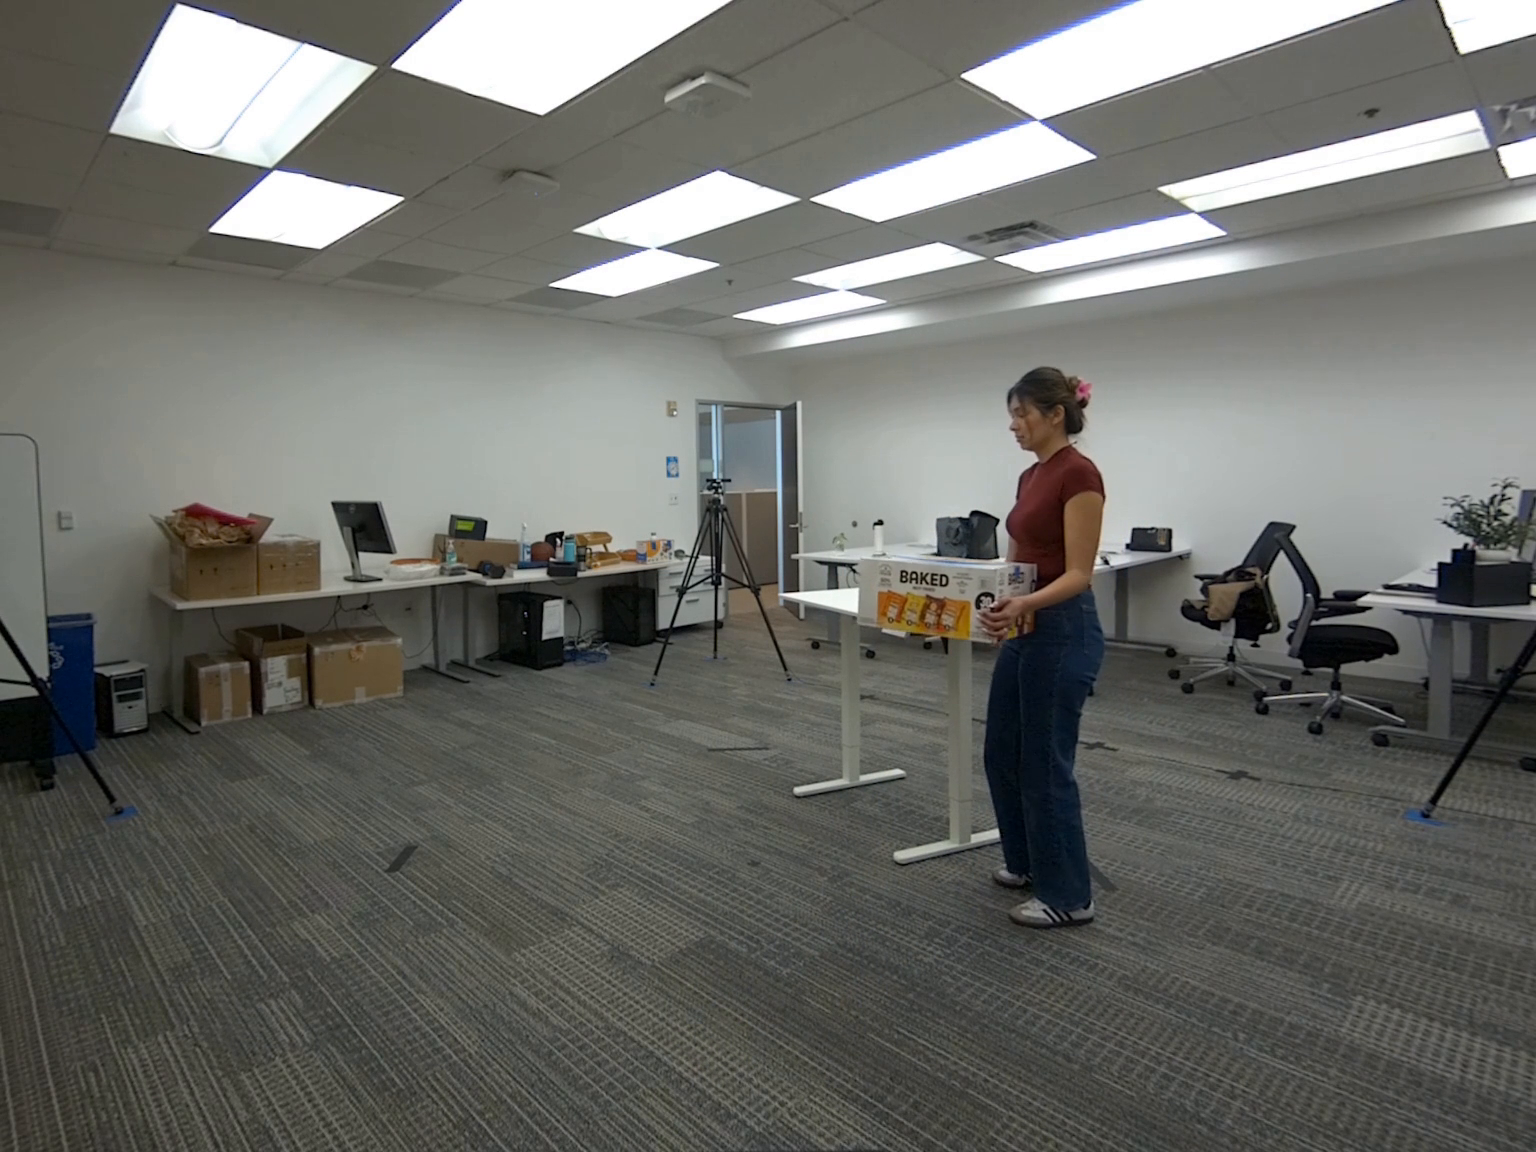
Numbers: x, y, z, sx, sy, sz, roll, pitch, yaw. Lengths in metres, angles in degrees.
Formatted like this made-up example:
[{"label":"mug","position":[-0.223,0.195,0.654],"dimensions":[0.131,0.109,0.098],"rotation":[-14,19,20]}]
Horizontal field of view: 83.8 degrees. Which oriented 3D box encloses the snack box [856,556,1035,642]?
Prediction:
[{"label":"snack box","position":[0.534,0.054,2.526],"dimensions":[0.417,0.205,0.331],"rotation":[6,5,35]}]
